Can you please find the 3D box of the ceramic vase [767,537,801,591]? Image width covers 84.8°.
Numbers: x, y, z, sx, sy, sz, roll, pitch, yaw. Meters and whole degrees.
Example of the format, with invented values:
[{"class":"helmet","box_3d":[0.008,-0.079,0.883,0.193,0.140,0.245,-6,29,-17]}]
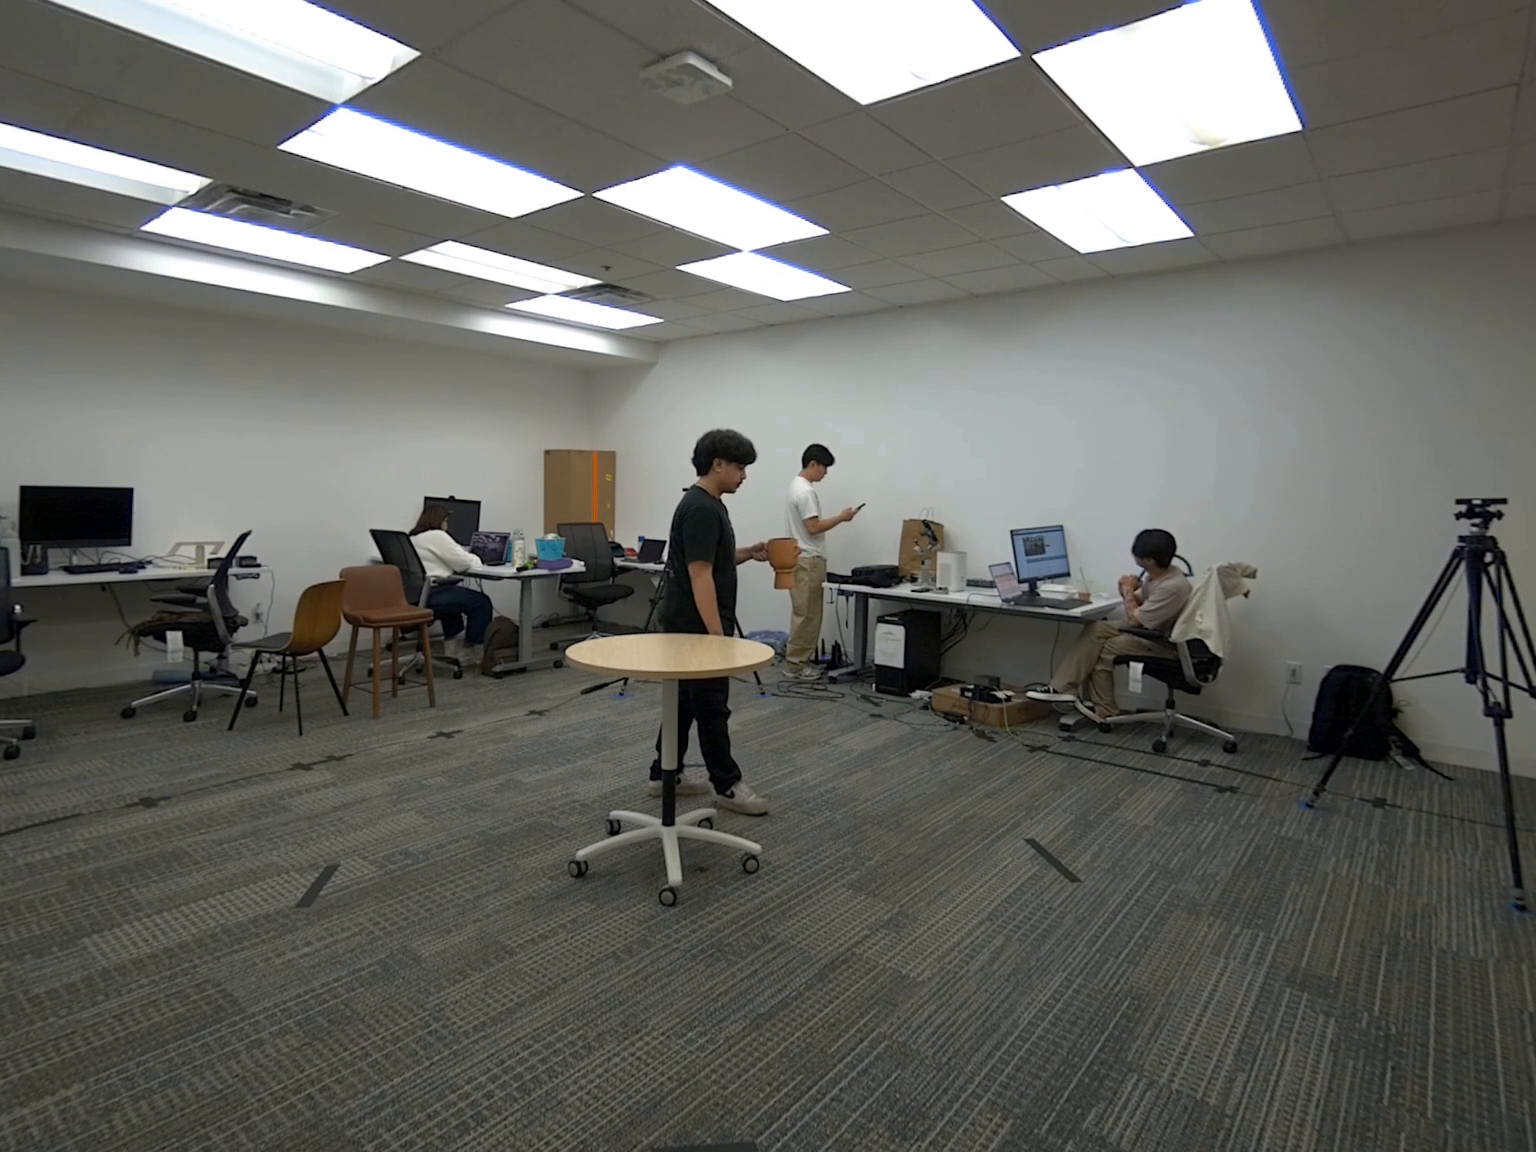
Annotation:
[{"class":"ceramic vase","box_3d":[0.056,-0.060,3.797,0.133,0.219,0.161,-3,4,-11]}]
